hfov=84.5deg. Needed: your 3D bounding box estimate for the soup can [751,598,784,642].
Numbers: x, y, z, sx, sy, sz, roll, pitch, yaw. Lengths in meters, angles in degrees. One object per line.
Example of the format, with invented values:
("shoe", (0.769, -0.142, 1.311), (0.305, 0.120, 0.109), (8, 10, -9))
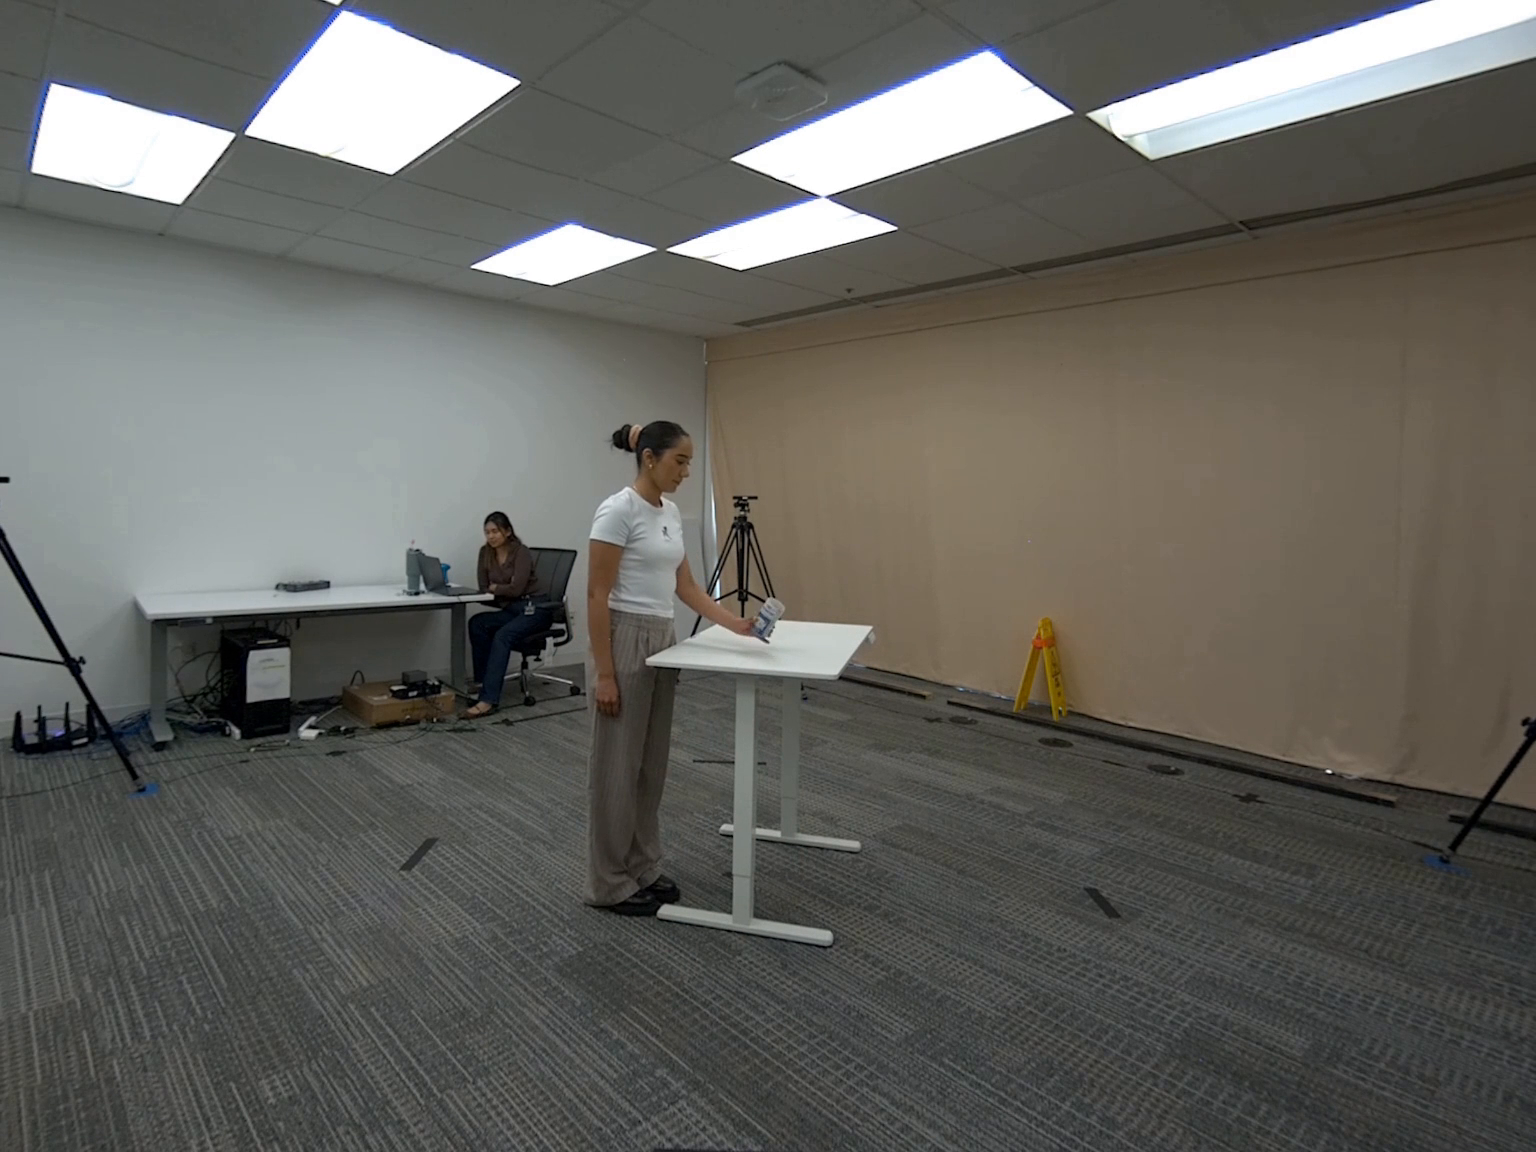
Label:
("soup can", (-0.009, 0.144, 2.762), (0.067, 0.121, 0.068), (25, 11, -7))
